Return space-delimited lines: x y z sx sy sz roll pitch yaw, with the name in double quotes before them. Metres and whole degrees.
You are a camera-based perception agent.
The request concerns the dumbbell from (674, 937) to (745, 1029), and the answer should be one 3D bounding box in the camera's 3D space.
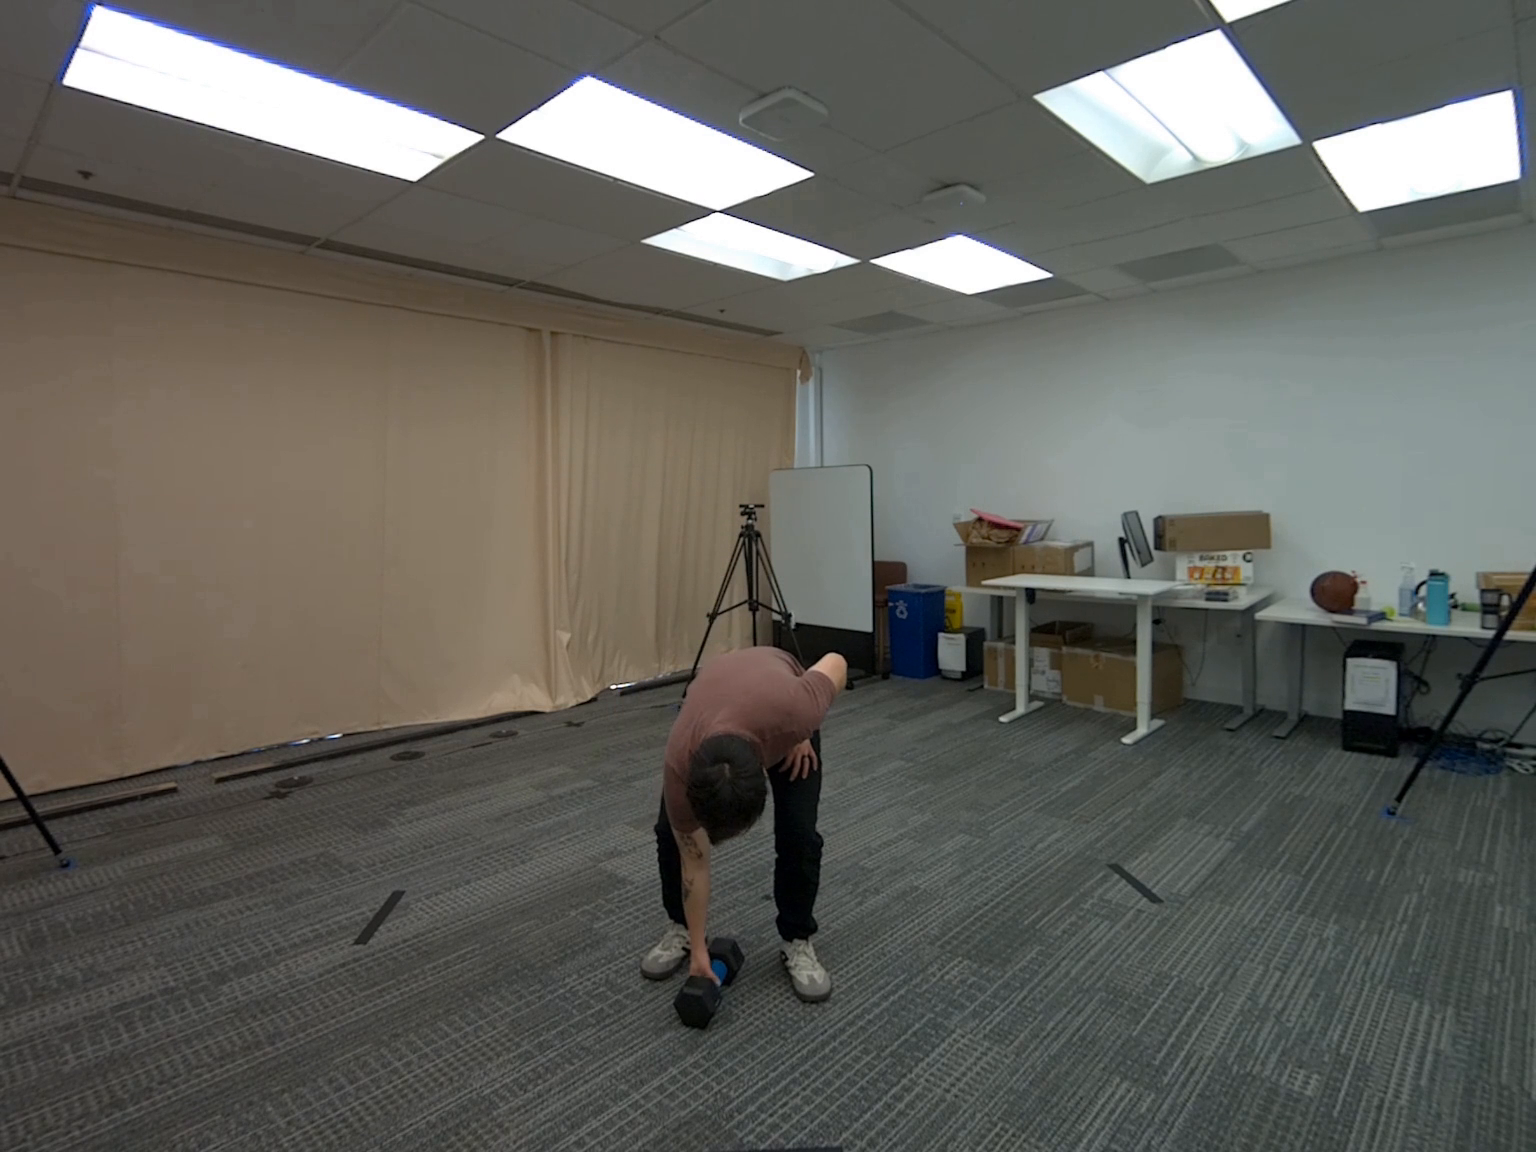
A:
"dumbbell" -0.156 1.137 2.370 0.110 0.124 0.289 -32 -5 15
